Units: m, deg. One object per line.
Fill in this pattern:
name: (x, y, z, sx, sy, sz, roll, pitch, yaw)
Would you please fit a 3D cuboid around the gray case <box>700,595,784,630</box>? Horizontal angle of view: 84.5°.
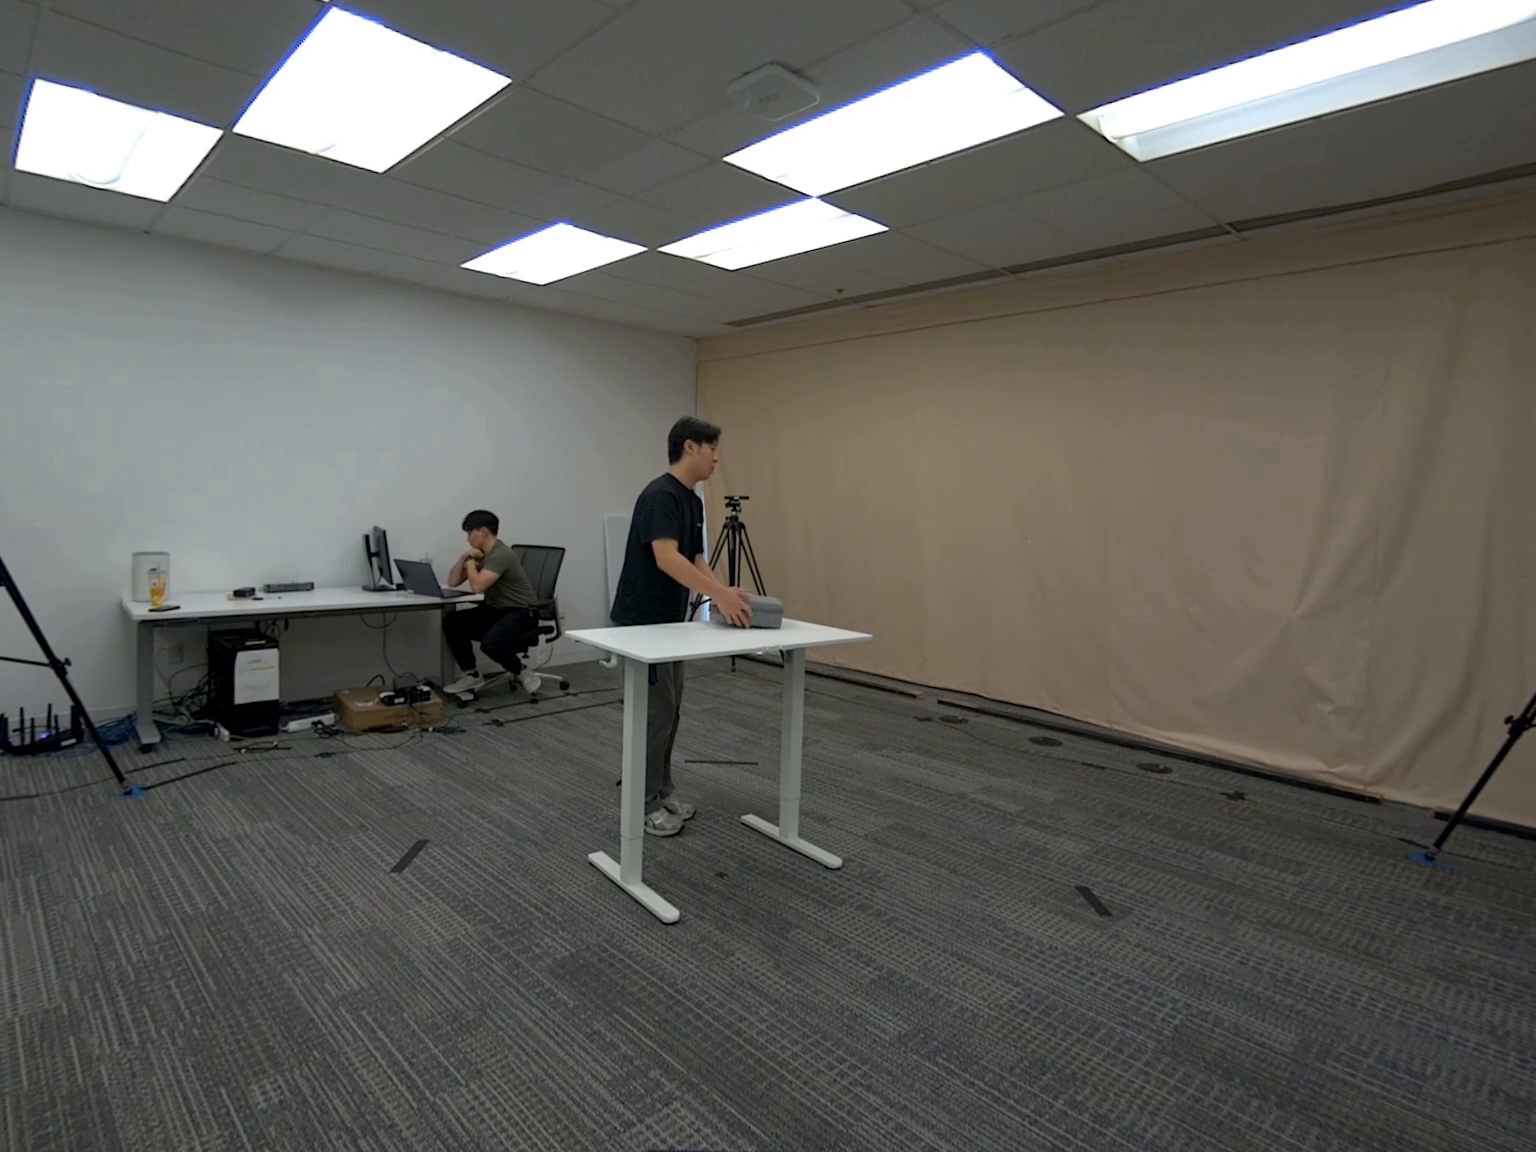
gray case: (-0.091, 0.132, 3.410, 0.286, 0.103, 0.264, 5, 3, -4)
